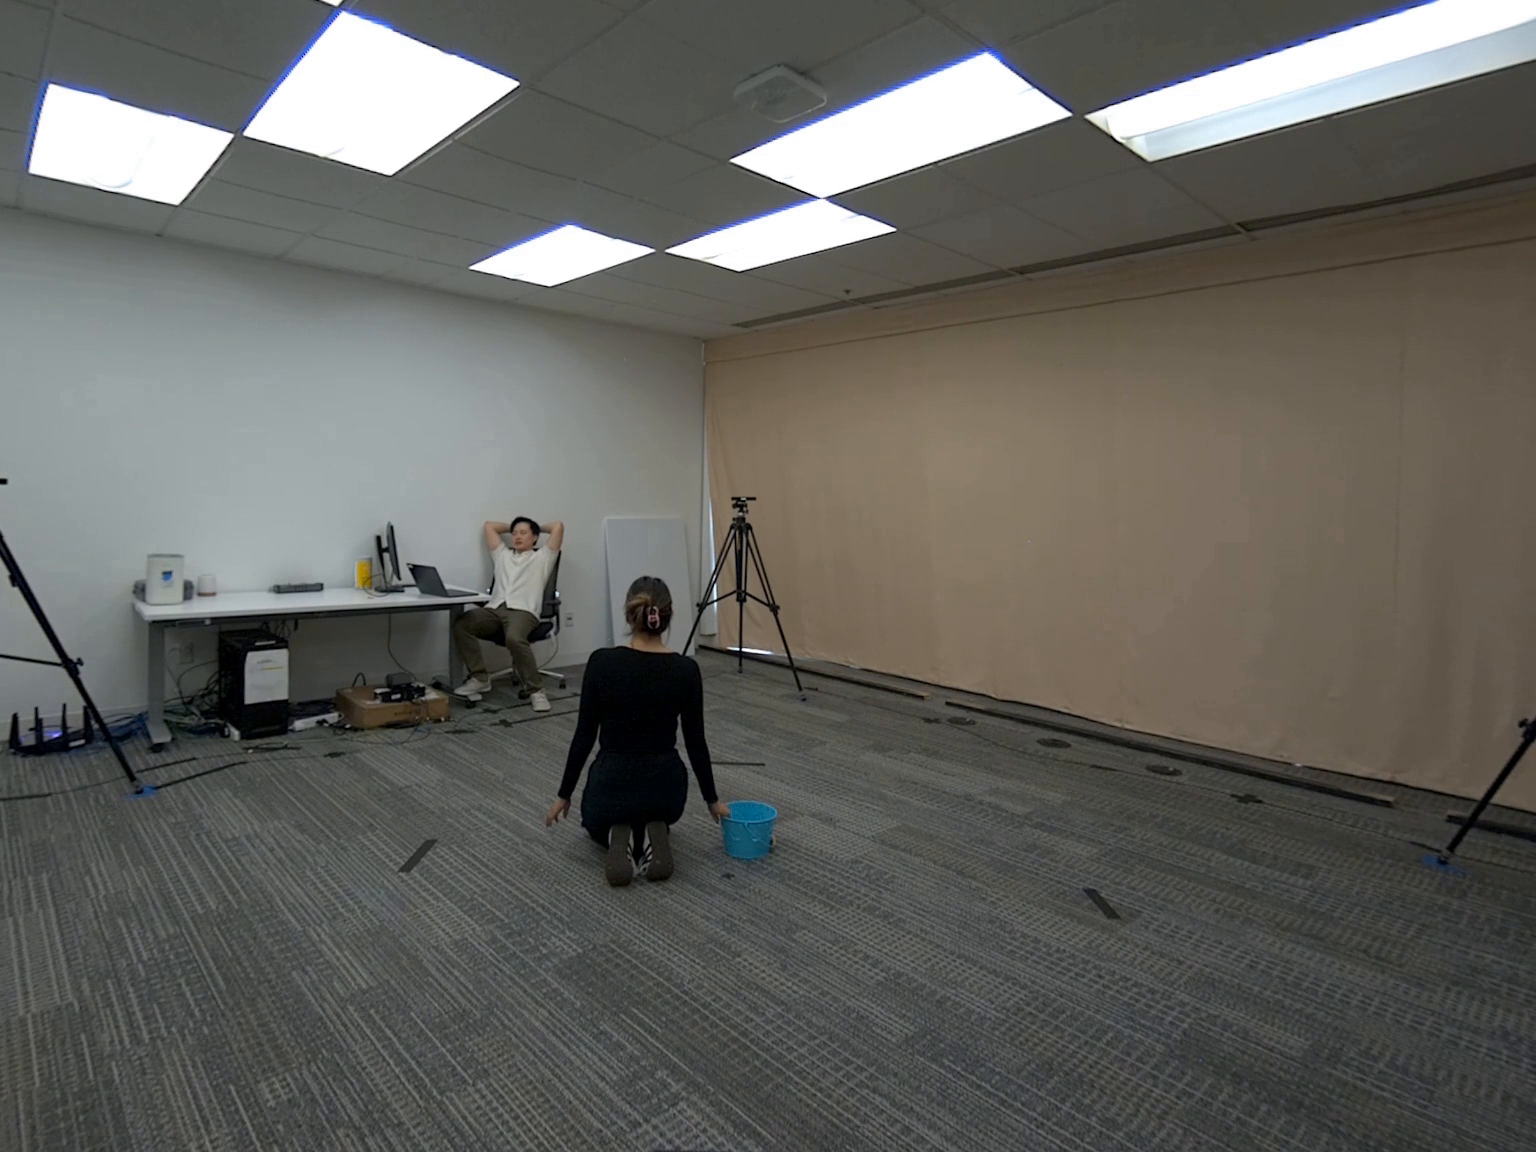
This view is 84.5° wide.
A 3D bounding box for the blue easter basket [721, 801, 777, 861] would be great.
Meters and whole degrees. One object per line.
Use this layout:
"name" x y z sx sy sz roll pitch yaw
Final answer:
"blue easter basket" -0.093 1.012 3.339 0.243 0.155 0.244 2 4 -1
